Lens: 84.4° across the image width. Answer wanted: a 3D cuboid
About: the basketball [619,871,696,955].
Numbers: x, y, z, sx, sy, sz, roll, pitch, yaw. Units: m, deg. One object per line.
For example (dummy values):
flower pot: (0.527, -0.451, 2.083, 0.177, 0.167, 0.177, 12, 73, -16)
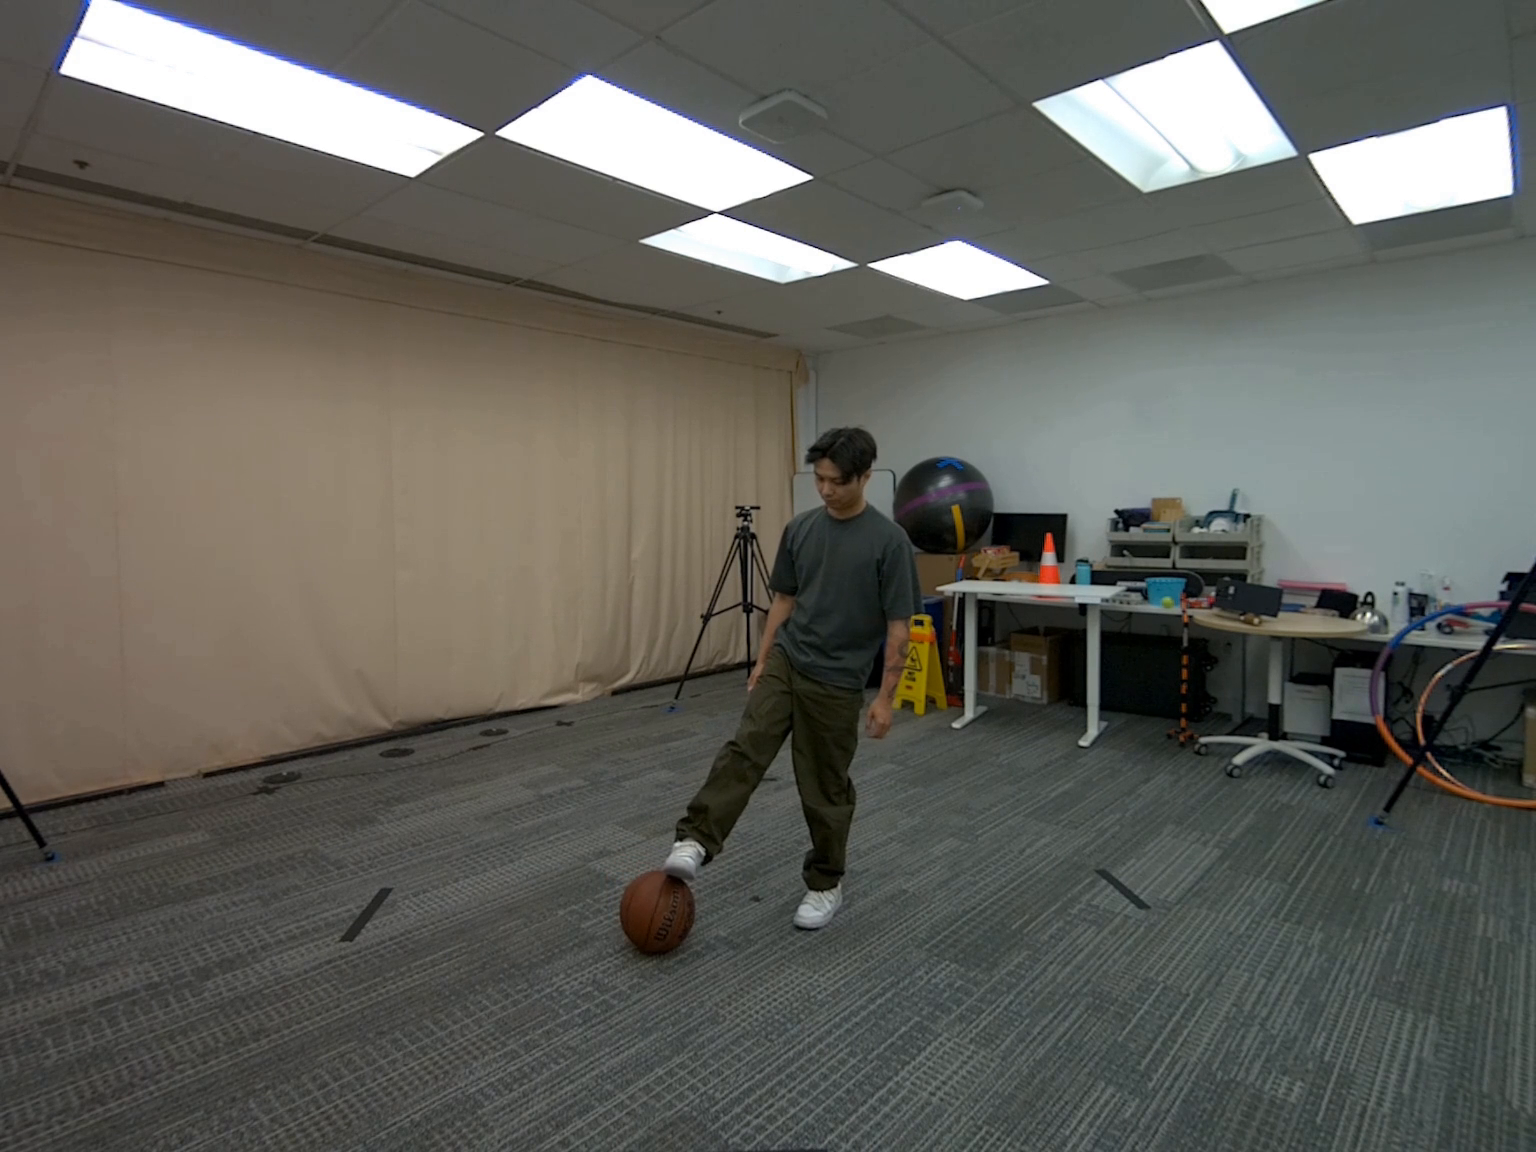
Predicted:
basketball: (-0.348, 1.055, 2.656, 0.236, 0.235, 0.237, 0, 4, -2)
